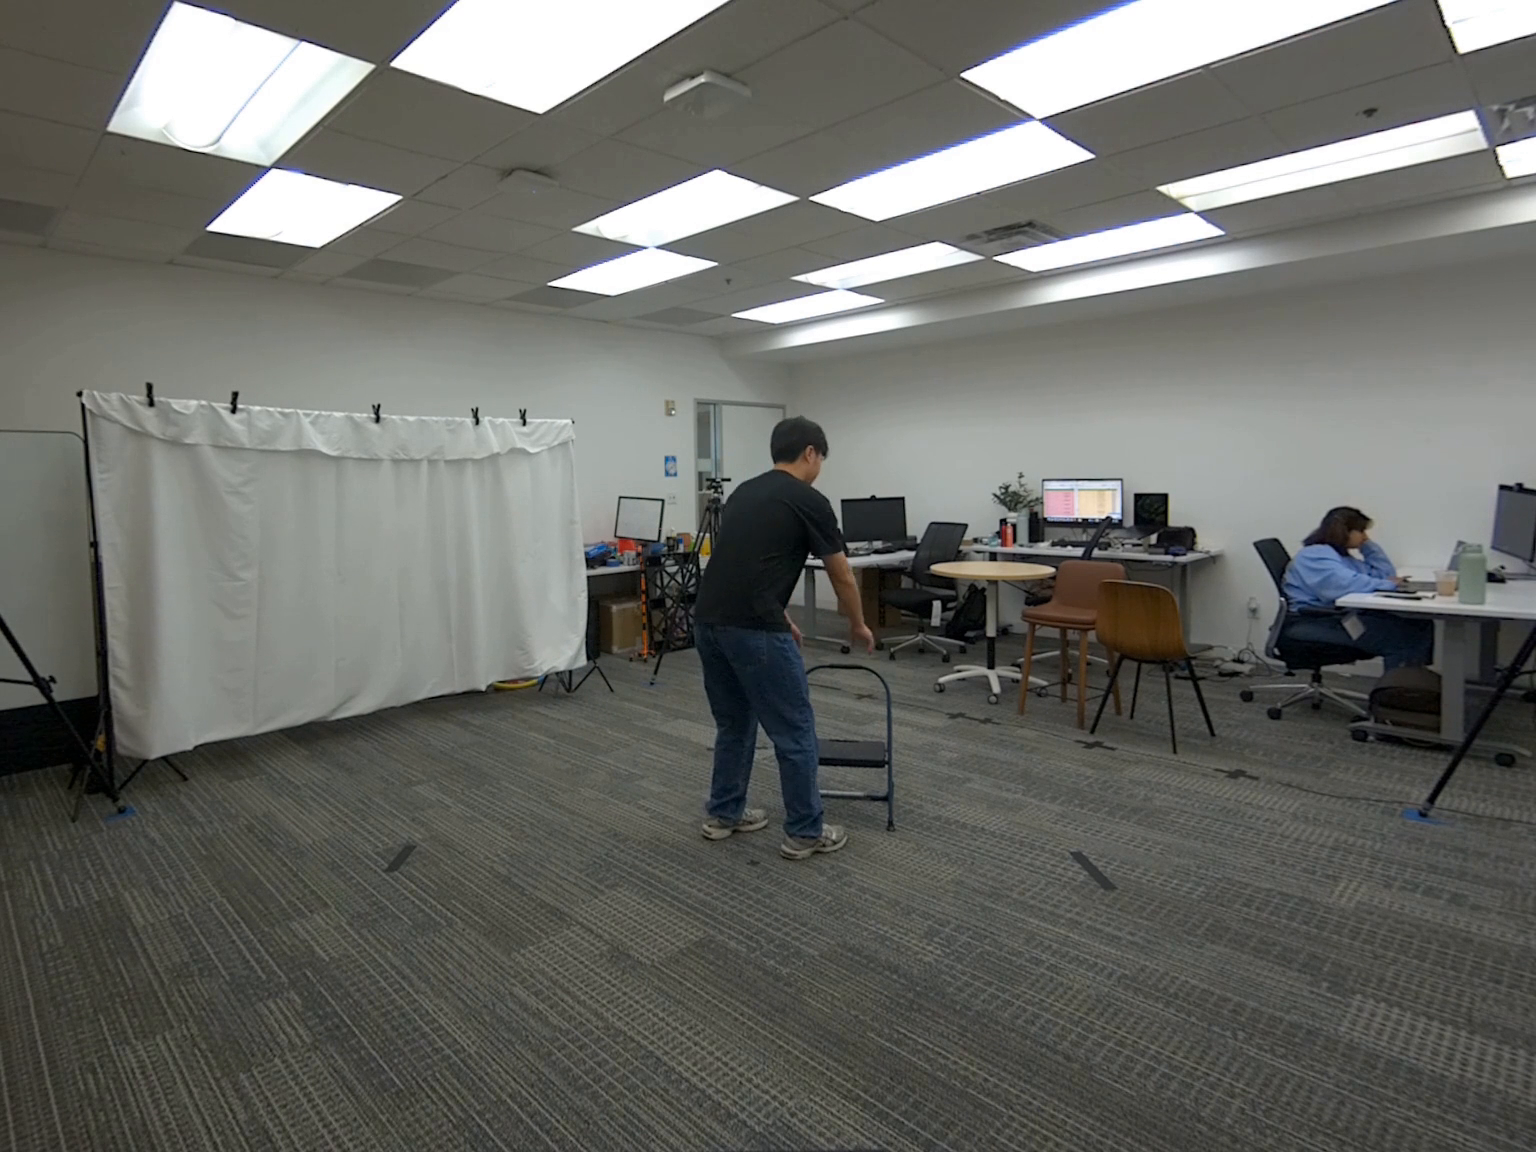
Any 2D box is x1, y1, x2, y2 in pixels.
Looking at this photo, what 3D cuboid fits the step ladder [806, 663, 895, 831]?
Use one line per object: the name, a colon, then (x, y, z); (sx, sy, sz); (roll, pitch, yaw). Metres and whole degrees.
step ladder: (0.314, 0.684, 3.554); (0.435, 0.604, 0.347); (0, 4, 9)
